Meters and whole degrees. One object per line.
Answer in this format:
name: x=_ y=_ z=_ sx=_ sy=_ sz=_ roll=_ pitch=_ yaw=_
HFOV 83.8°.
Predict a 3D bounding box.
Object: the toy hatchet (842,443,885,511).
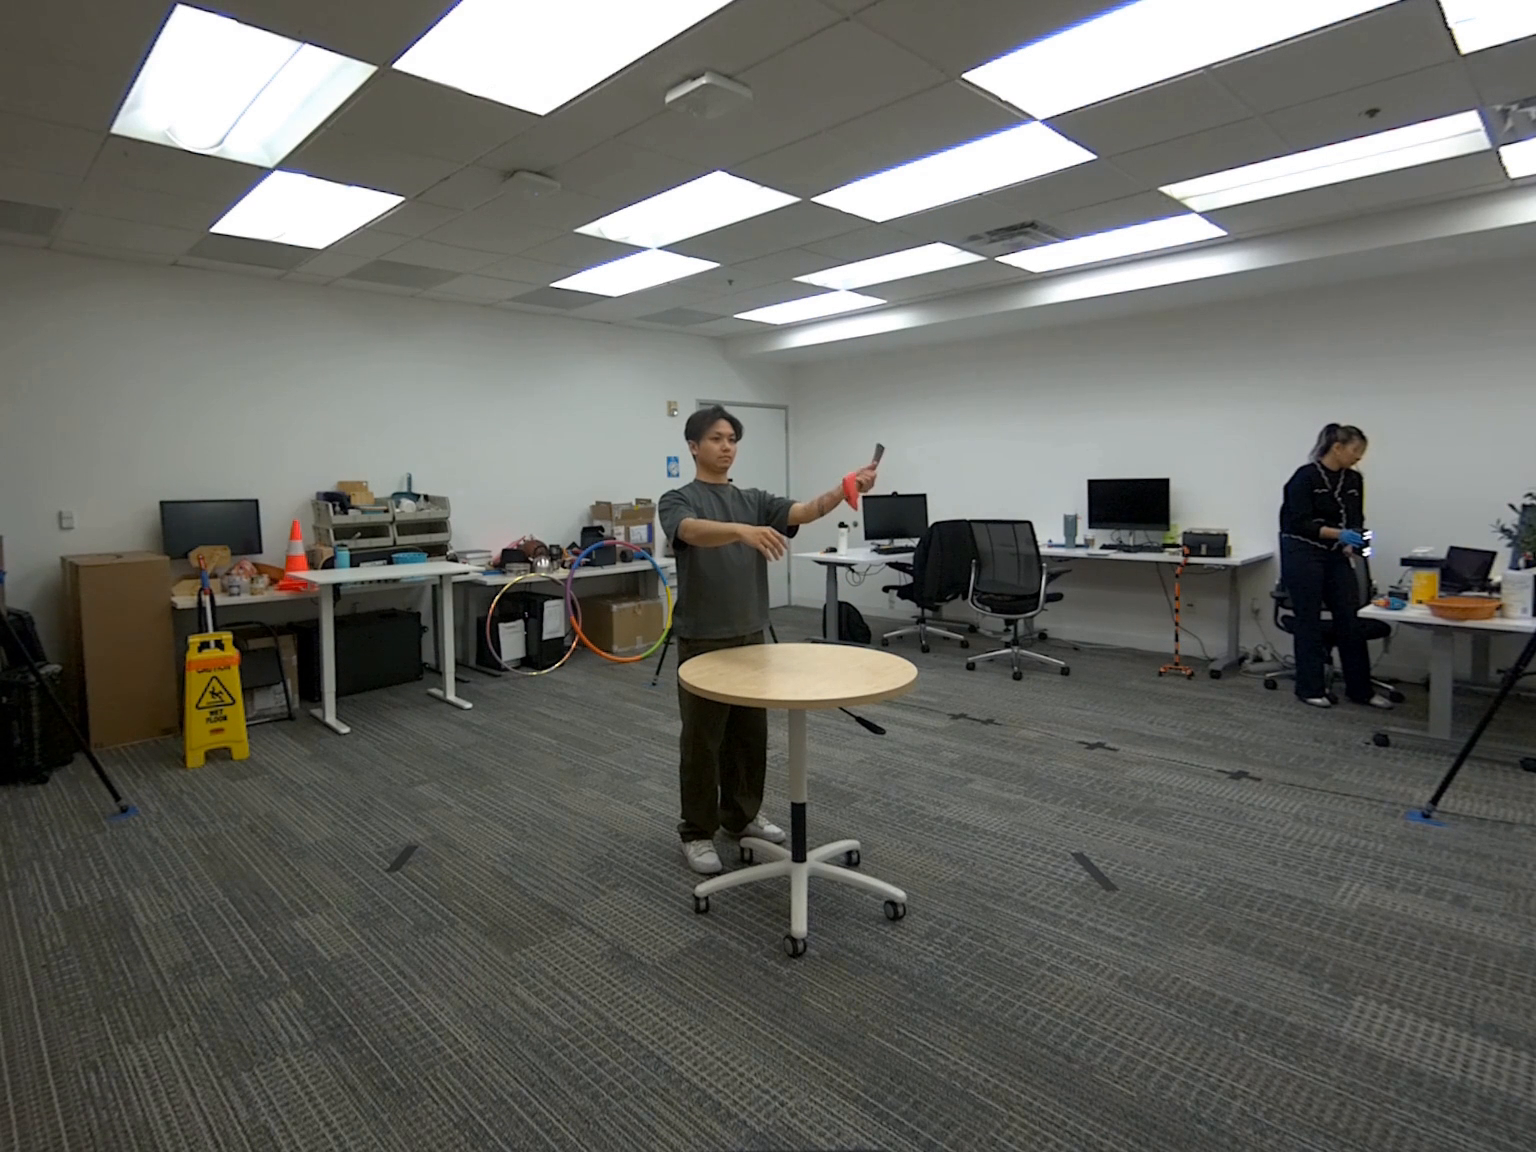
toy hatchet: x=0.317 y=-0.355 z=2.875 sx=0.030 sy=0.272 sz=0.126 roll=1 pitch=-32 yaw=43
